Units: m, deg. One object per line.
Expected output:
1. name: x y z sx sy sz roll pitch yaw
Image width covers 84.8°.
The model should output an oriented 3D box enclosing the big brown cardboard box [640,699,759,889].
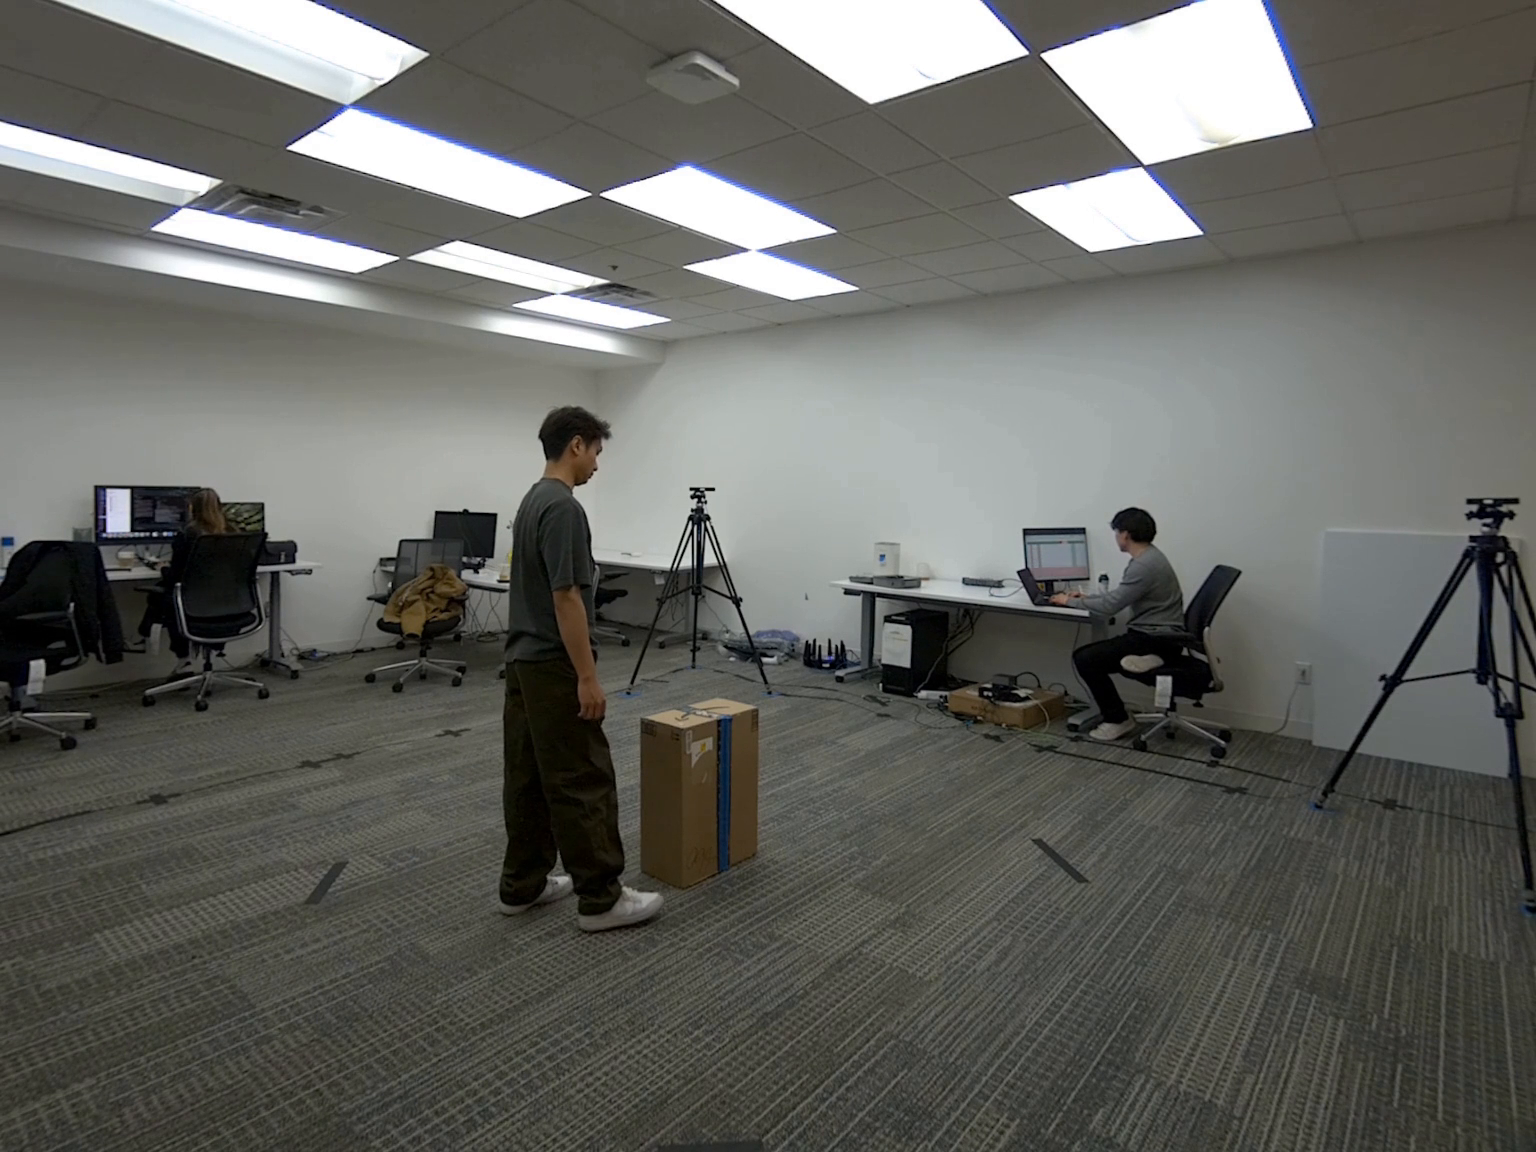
1. big brown cardboard box: -0.255 0.775 3.140 0.241 0.586 0.405 4 6 40
